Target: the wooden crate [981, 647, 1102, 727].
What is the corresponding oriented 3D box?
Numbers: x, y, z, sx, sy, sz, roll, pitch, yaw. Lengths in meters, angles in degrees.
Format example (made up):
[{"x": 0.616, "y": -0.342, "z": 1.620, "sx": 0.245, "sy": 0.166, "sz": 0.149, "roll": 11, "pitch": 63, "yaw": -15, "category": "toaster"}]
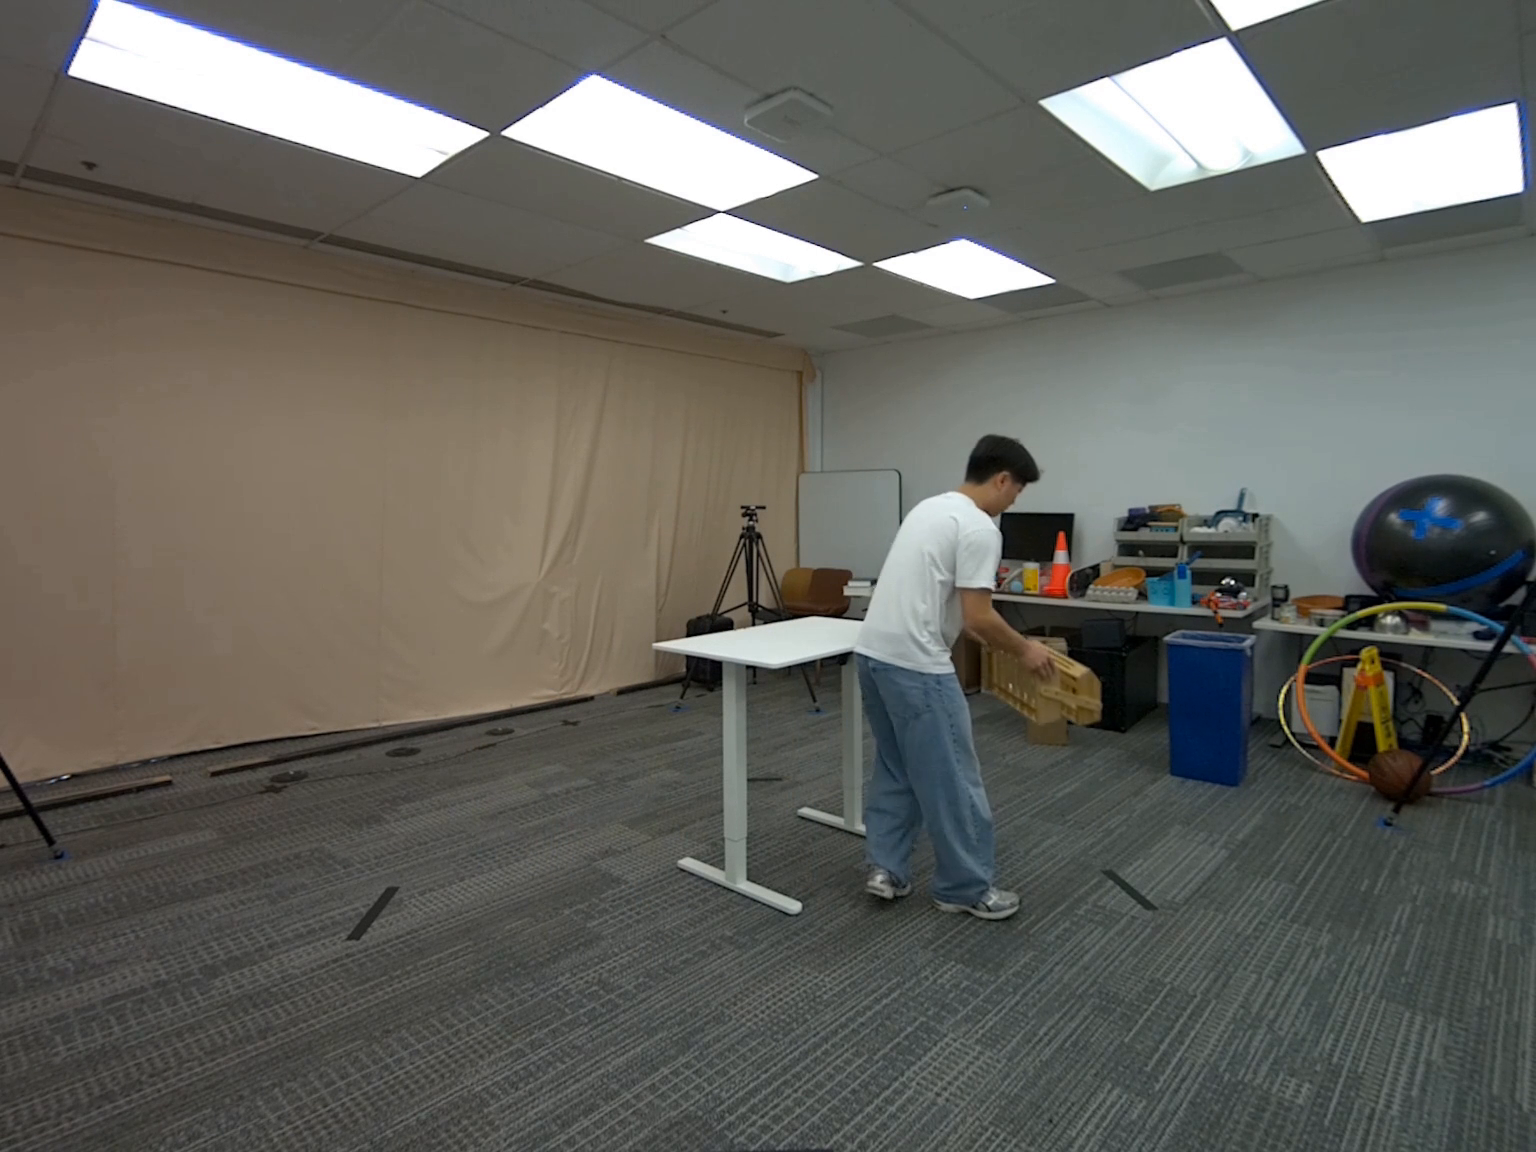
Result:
[{"x": 0.995, "y": 0.353, "z": 3.057, "sx": 0.270, "sy": 0.299, "sz": 0.332, "roll": -13, "pitch": 15, "yaw": -16, "category": "wooden crate"}]
